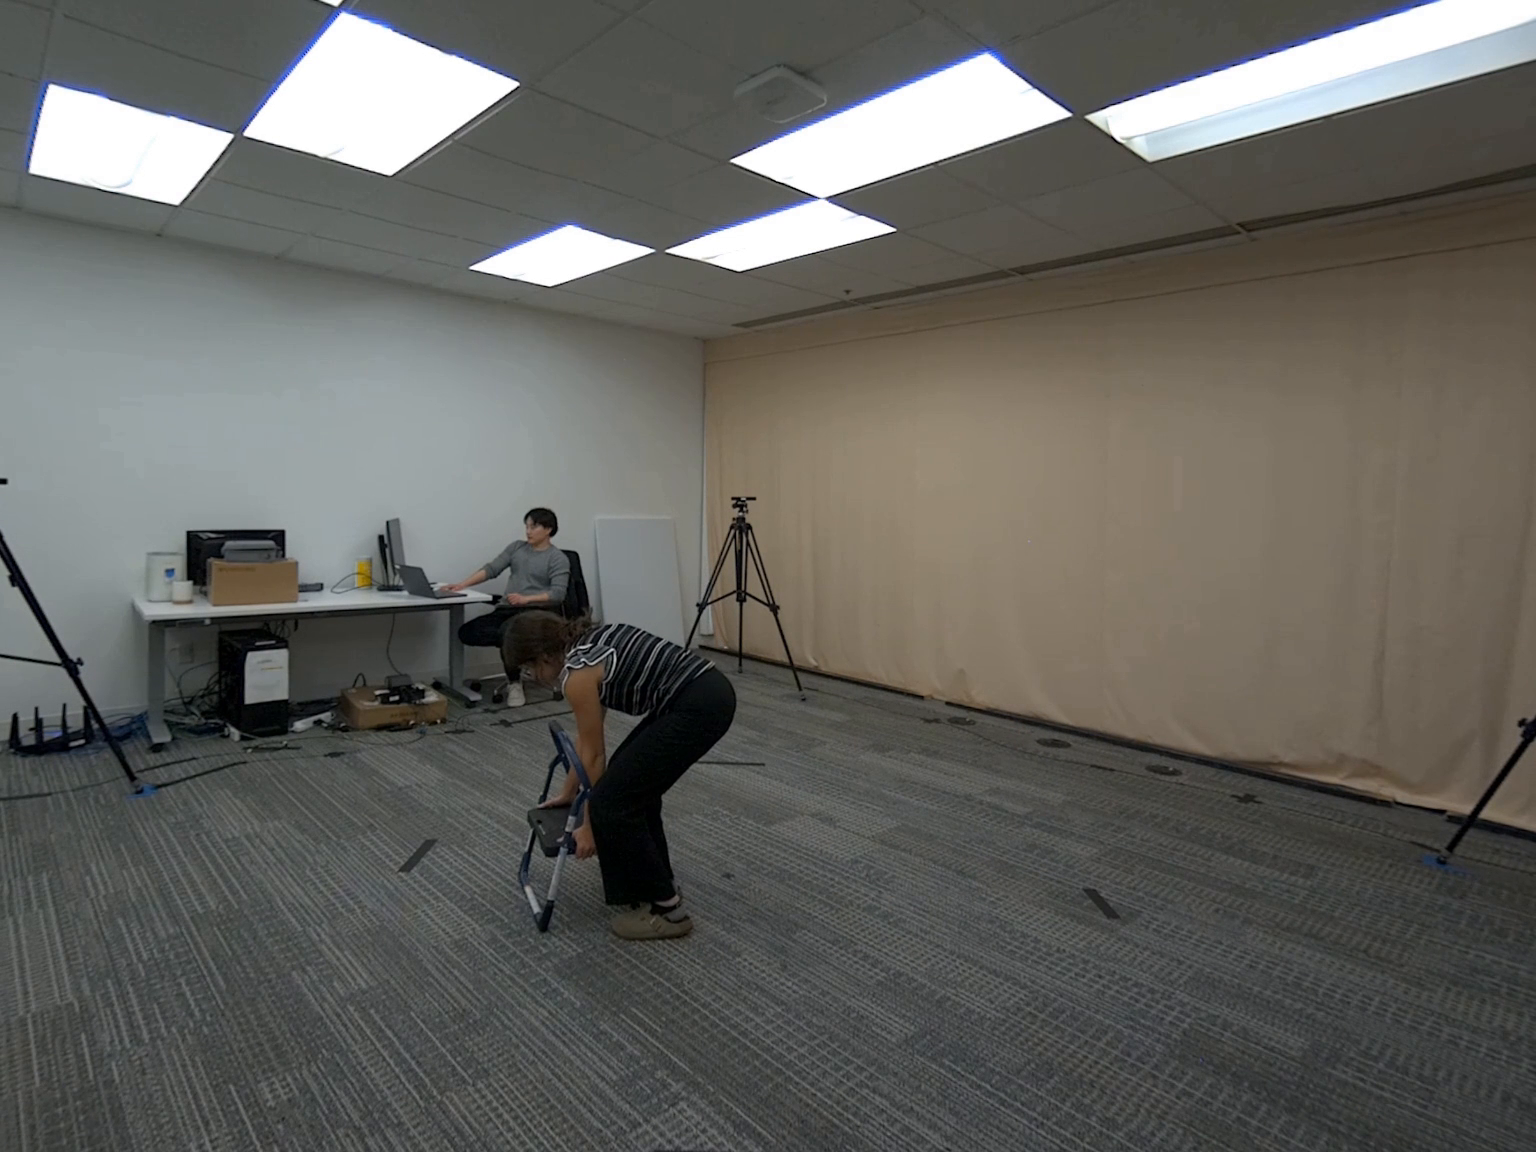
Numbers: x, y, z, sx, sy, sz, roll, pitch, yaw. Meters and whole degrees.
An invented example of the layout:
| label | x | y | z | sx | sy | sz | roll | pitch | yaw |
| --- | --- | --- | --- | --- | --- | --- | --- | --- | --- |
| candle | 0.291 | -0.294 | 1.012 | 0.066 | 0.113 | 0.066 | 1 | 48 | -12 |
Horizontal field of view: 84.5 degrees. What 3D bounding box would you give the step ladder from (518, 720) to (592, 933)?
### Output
| label | x | y | z | sx | sy | sz | roll | pitch | yaw |
| --- | --- | --- | --- | --- | --- | --- | --- | --- | --- |
| step ladder | -0.660 | 0.799 | 2.906 | 0.343 | 0.604 | 0.439 | 0 | 4 | -26 |
